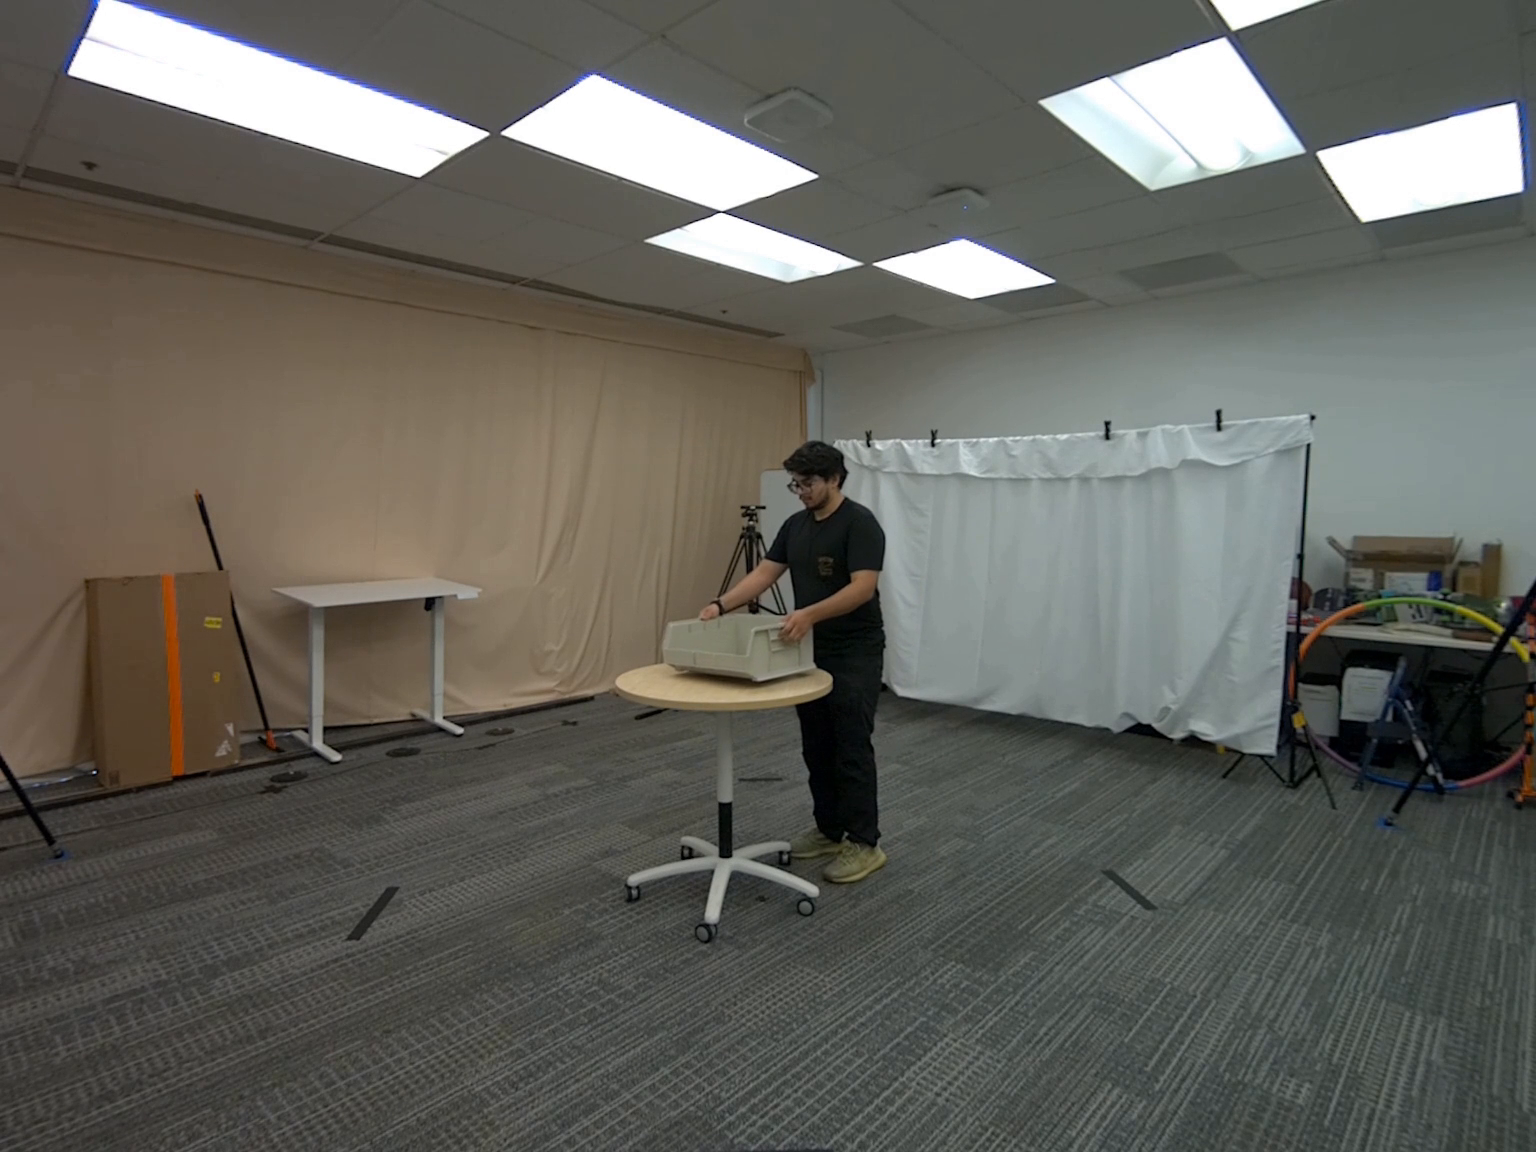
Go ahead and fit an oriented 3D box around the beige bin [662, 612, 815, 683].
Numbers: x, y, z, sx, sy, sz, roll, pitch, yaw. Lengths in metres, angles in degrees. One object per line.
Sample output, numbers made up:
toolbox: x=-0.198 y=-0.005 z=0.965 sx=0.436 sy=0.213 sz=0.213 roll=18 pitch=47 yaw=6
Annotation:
beige bin: x=-0.094 y=0.248 z=3.022 sx=0.436 sy=0.189 sz=0.366 roll=0 pitch=3 yaw=42
